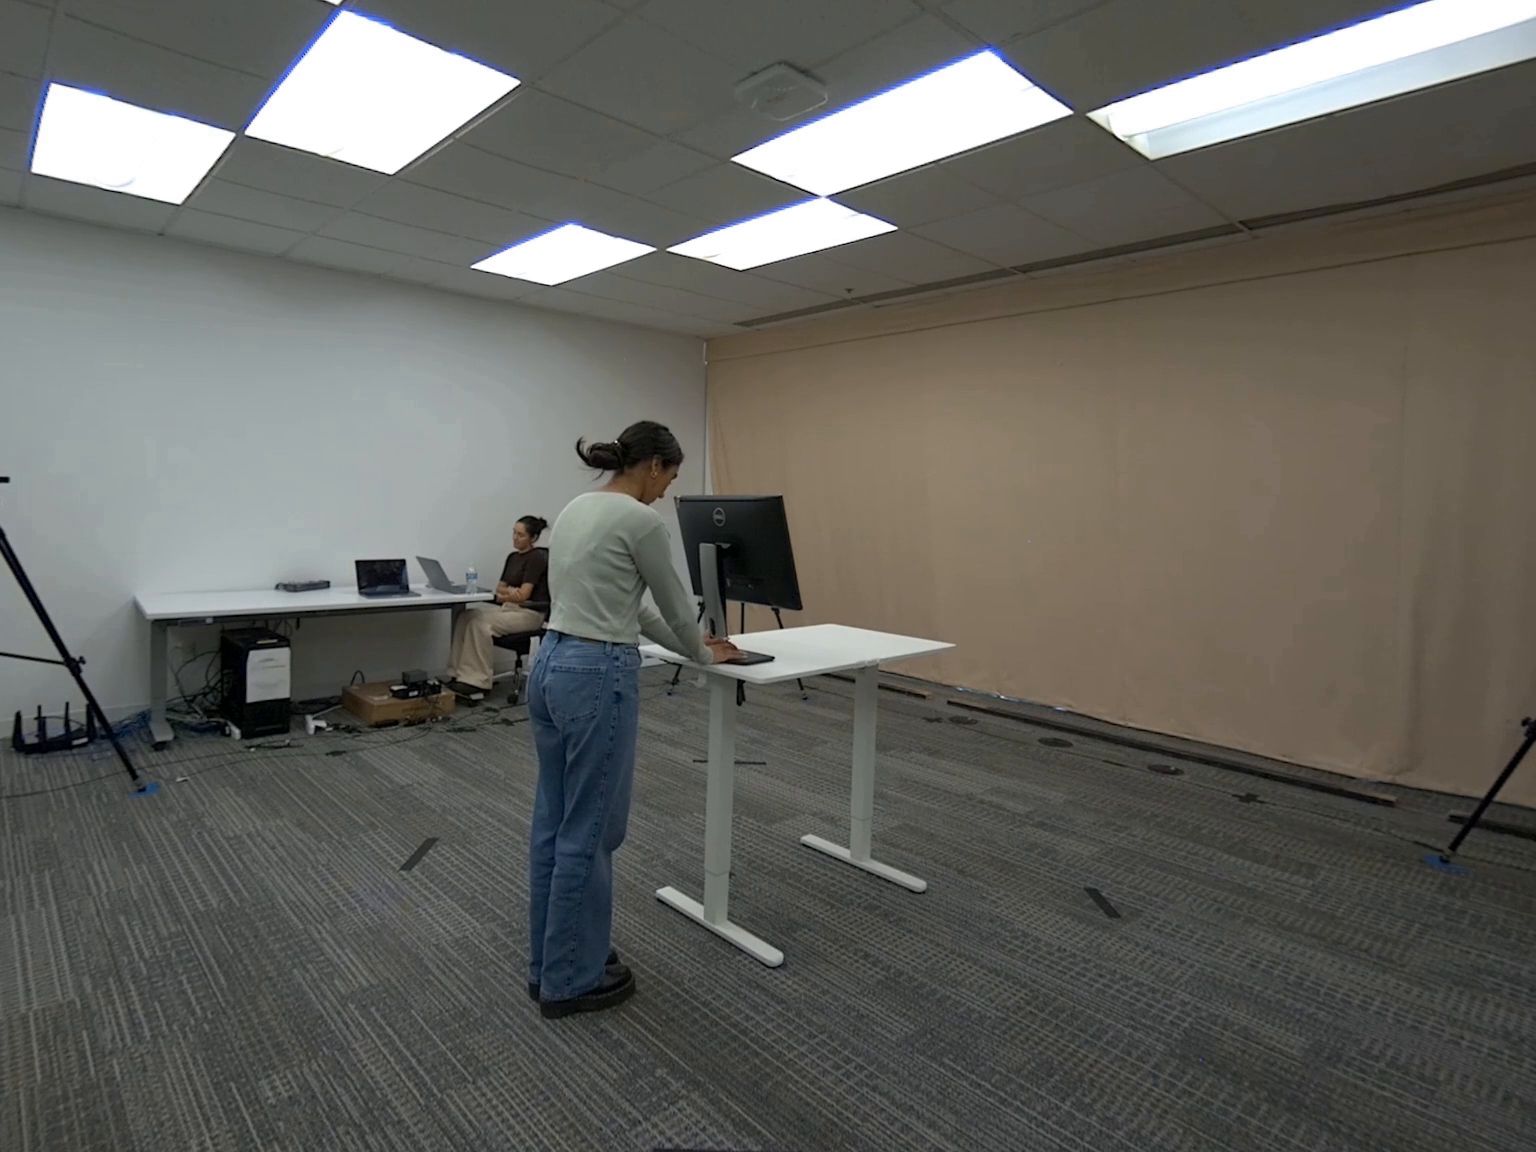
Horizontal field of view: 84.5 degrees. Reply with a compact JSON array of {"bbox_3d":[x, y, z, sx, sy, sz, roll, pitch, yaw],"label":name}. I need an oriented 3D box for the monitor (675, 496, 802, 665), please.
[{"bbox_3d":[-0.130,0.009,2.640,0.183,0.521,0.552,-2,4,-42],"label":"monitor"}]
